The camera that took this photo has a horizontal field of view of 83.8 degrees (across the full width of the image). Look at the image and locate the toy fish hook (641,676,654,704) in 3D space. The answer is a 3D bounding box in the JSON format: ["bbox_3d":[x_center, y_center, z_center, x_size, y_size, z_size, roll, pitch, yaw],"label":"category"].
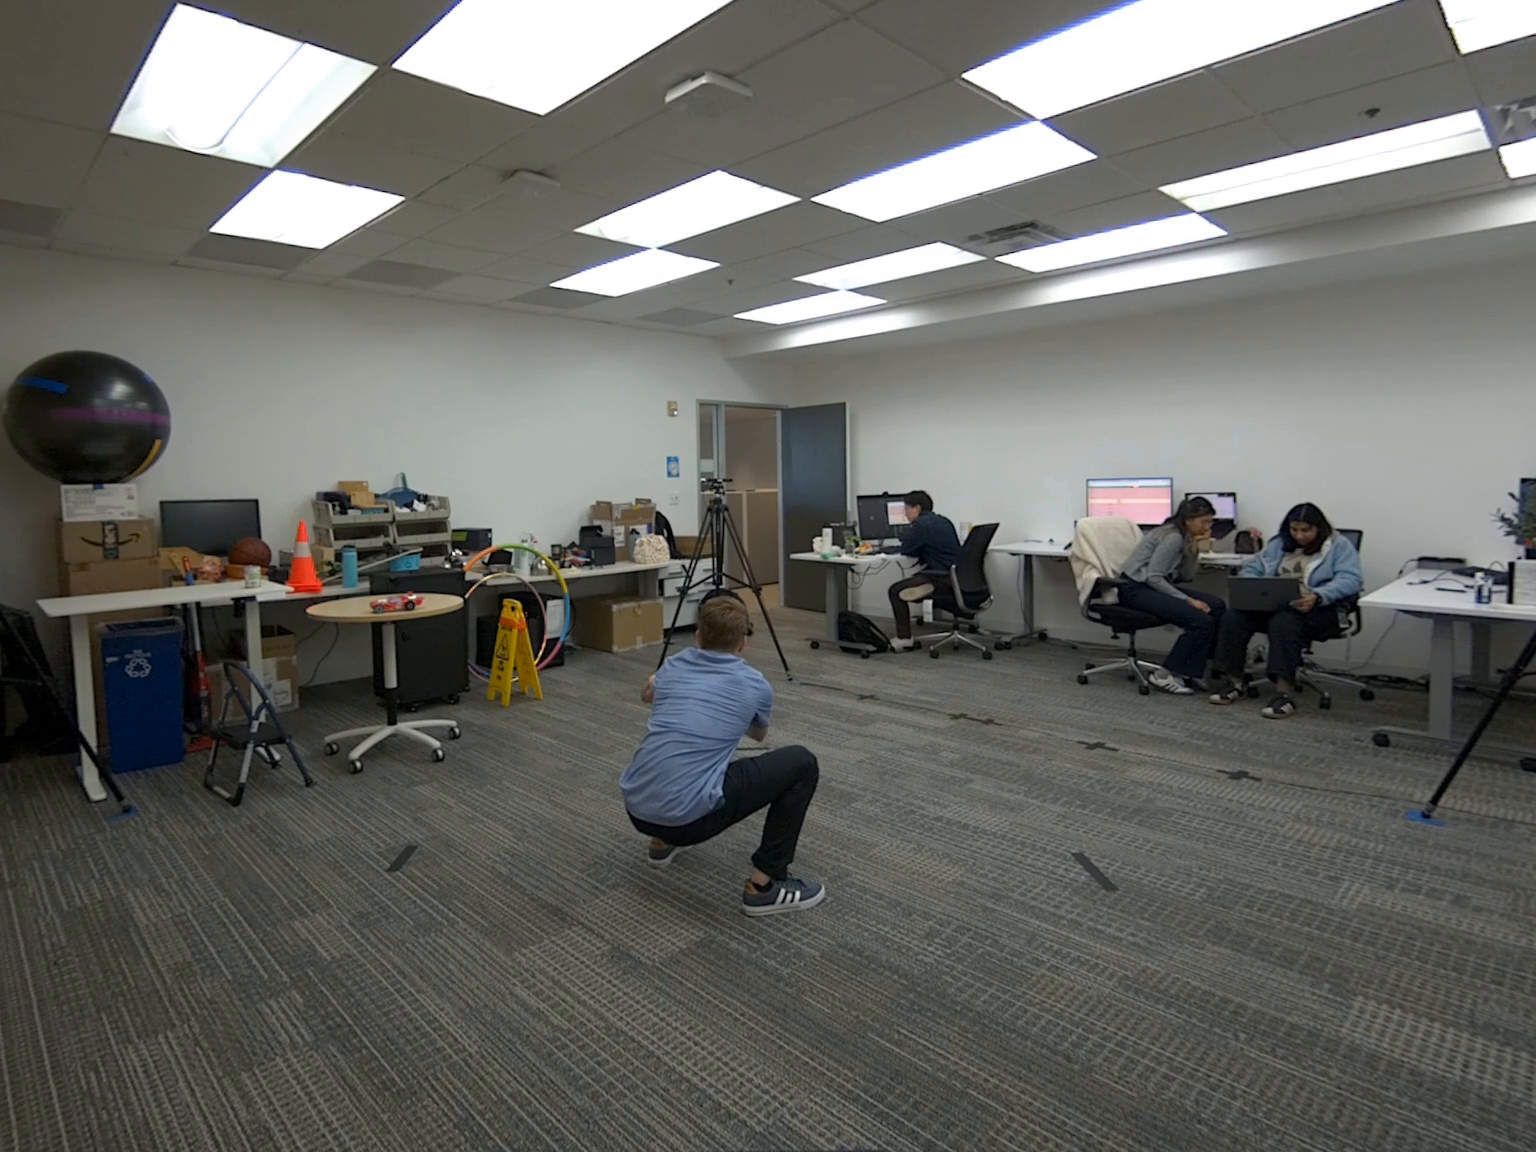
[{"bbox_3d":[-0.253,0.473,3.650,0.516,0.047,0.224,8,20,18],"label":"toy fish hook"}]
